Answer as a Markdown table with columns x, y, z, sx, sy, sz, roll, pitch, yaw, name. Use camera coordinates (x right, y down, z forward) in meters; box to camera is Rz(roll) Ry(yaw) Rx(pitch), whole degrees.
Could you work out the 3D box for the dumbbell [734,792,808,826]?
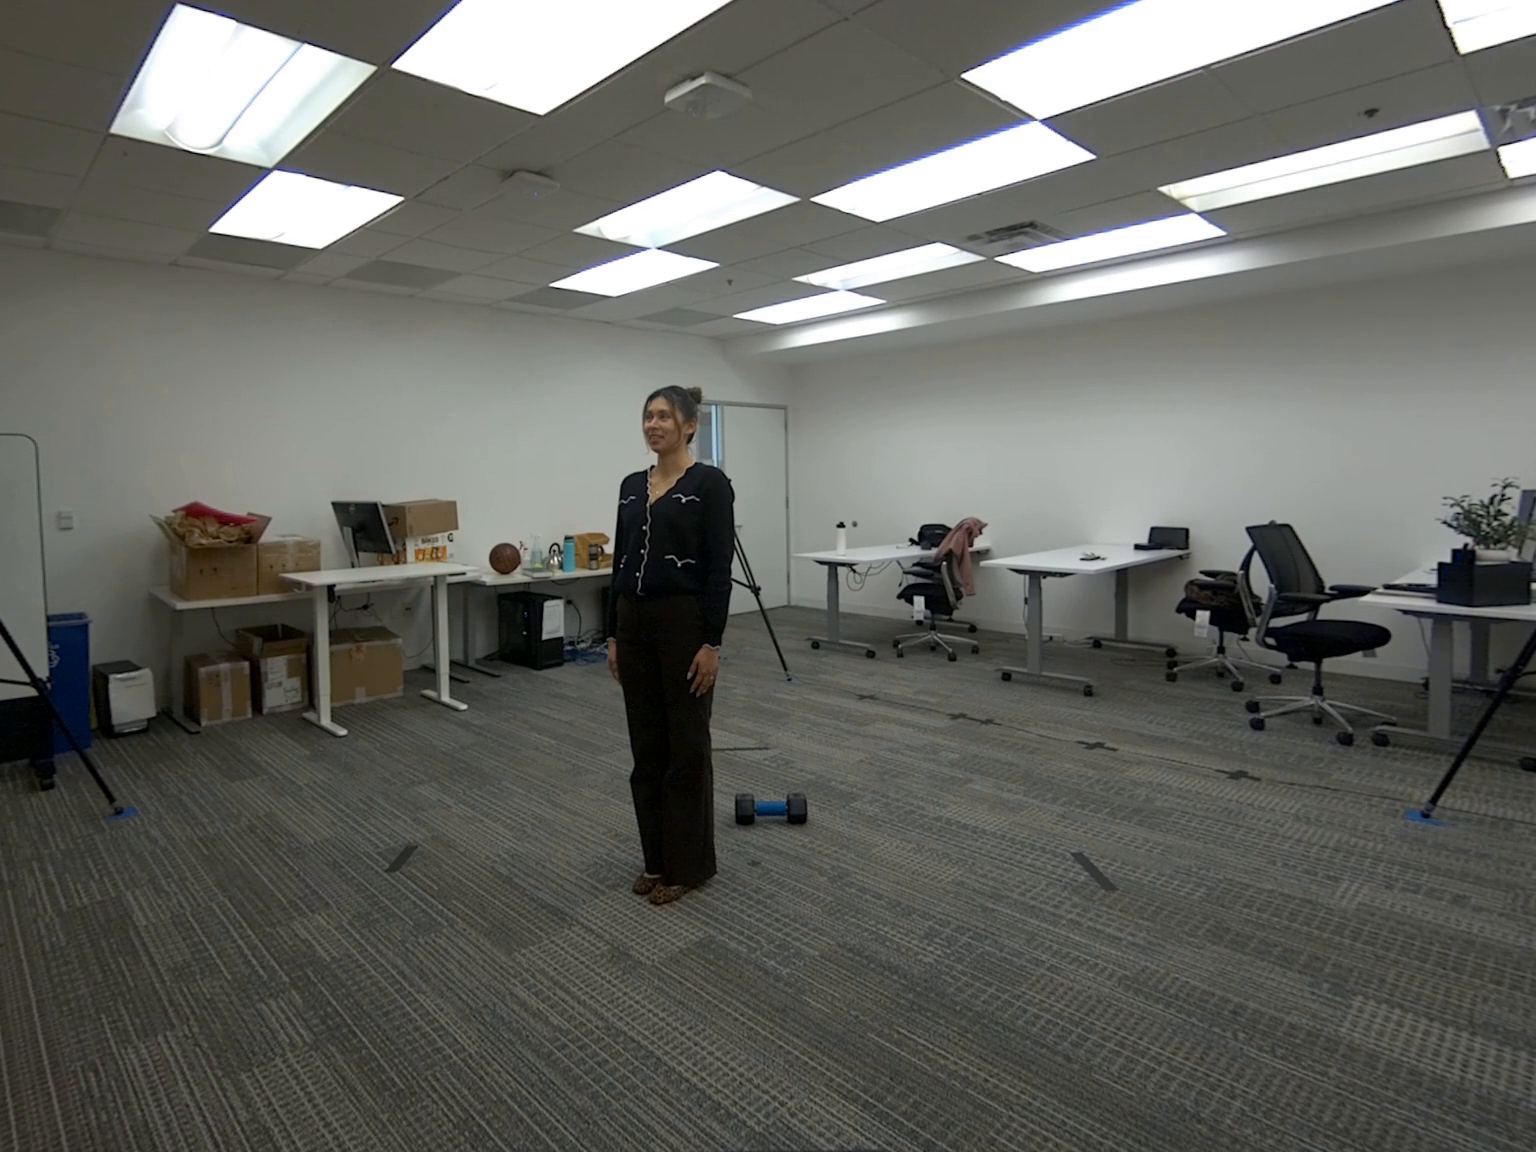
| x | y | z | sx | sy | sz | roll | pitch | yaw | name |
| --- | --- | --- | --- | --- | --- | --- | --- | --- | --- |
| 0.011 | 0.949 | 3.482 | 0.293 | 0.125 | 0.106 | -1 | -24 | 0 | dumbbell |
